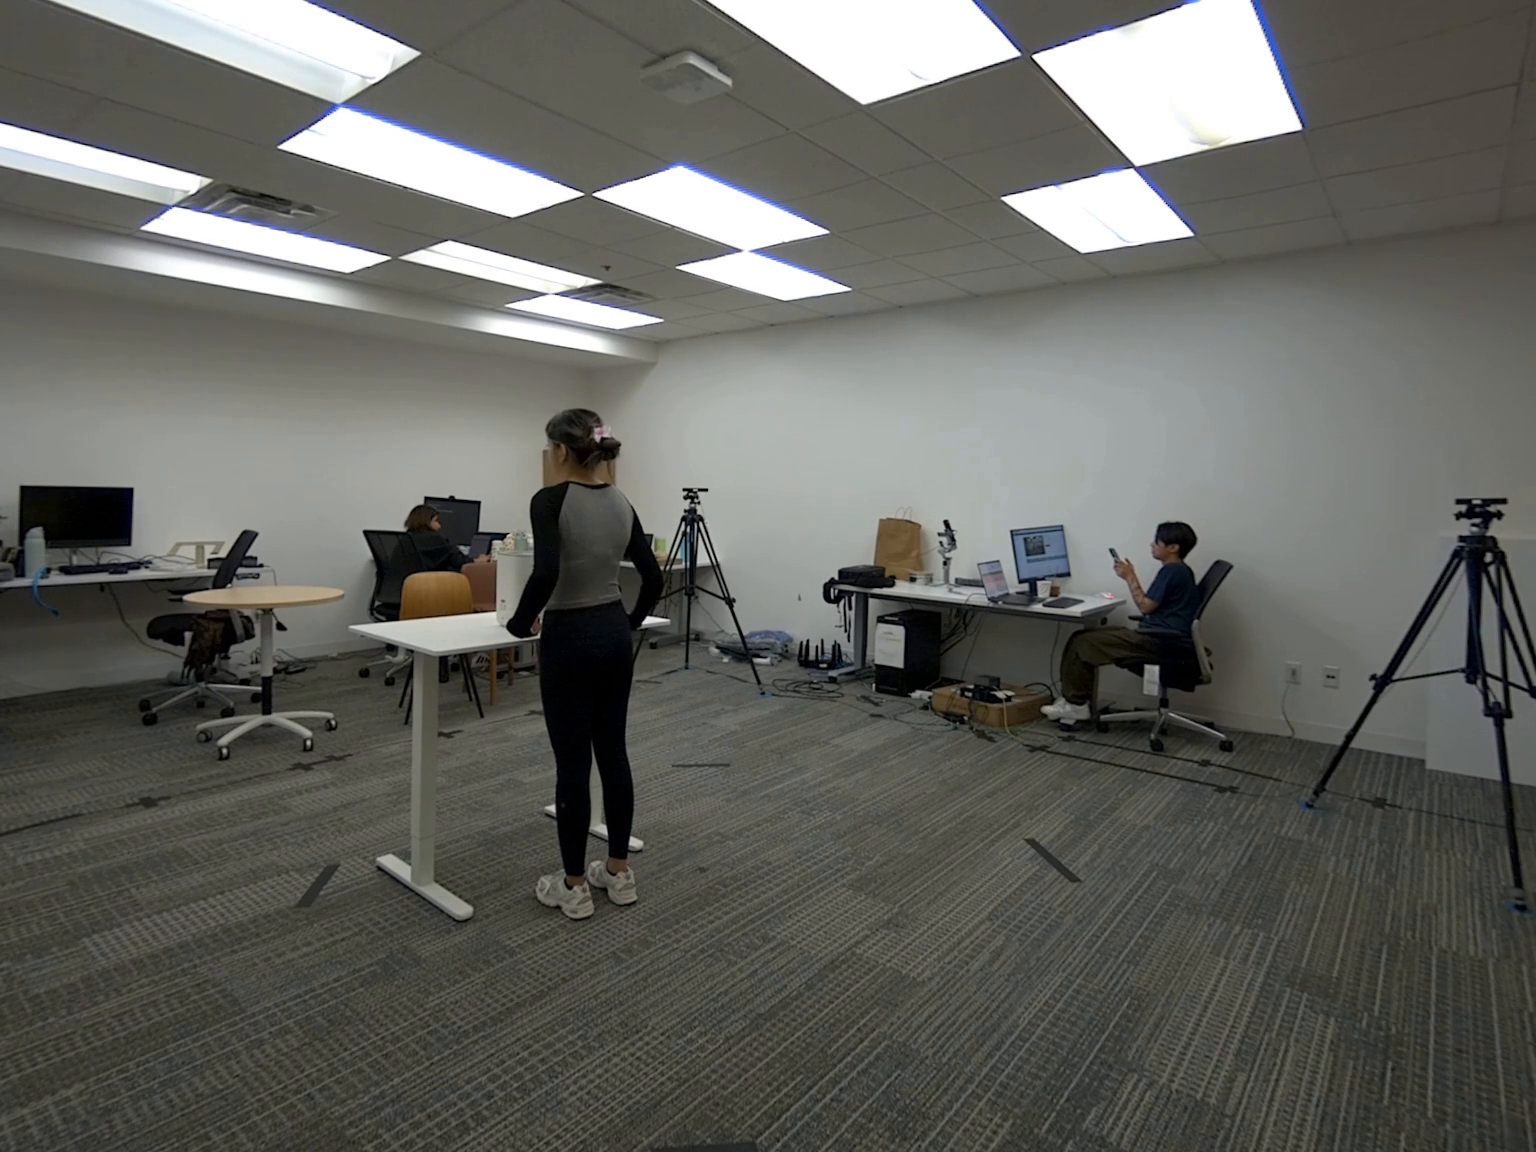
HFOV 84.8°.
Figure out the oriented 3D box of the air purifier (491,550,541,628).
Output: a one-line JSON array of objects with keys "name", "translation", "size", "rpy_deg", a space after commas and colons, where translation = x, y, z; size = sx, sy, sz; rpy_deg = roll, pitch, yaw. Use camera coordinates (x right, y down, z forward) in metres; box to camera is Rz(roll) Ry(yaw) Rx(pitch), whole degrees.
[{"name": "air purifier", "translation": [-0.889, 0.044, 3.079], "size": [0.177, 0.265, 0.166], "rpy_deg": [5, 4, 44]}]
